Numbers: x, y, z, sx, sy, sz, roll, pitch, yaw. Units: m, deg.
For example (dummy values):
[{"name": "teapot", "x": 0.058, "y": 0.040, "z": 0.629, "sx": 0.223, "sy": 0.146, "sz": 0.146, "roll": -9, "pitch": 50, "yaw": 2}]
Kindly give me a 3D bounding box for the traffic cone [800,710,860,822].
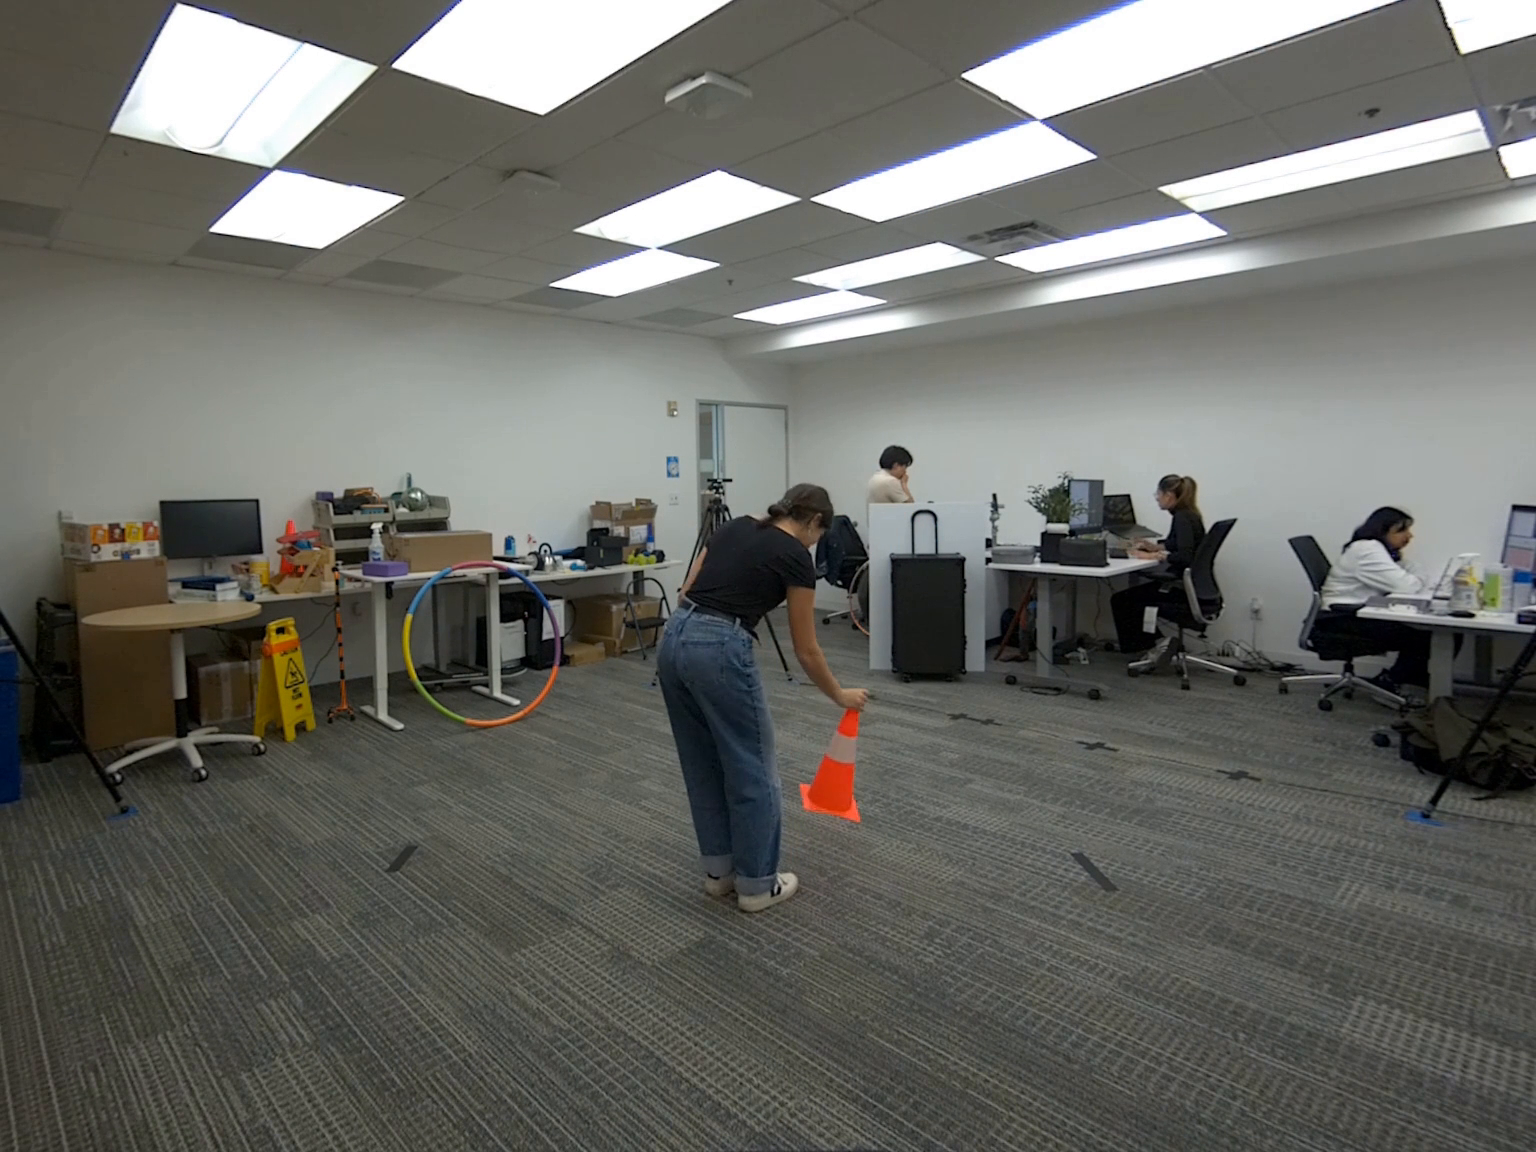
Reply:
[{"name": "traffic cone", "x": 0.263, "y": 0.608, "z": 2.955, "sx": 0.203, "sy": 0.381, "sz": 0.206, "roll": 11, "pitch": 10, "yaw": -7}]
